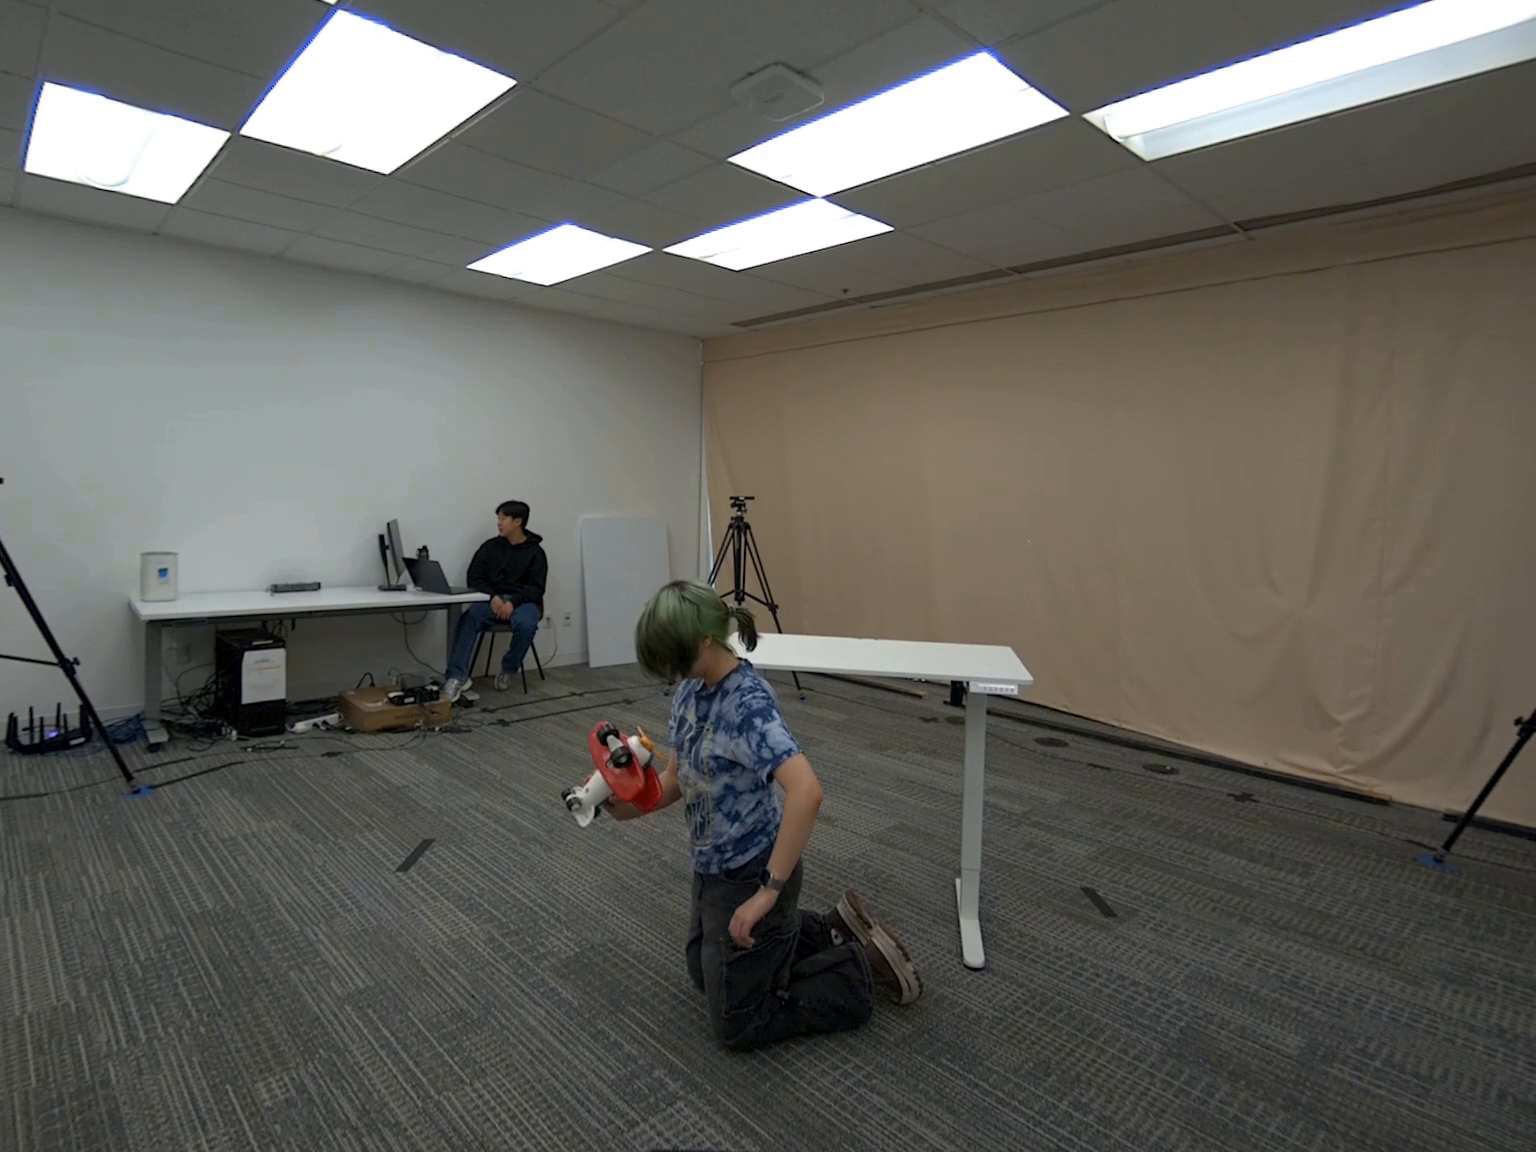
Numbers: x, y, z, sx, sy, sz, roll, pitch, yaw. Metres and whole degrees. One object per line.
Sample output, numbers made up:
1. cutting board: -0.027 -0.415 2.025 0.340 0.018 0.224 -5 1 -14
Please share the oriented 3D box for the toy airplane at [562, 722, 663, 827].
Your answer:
1. toy airplane: -0.408 0.492 2.127 0.261 0.257 0.151 -32 -39 25
